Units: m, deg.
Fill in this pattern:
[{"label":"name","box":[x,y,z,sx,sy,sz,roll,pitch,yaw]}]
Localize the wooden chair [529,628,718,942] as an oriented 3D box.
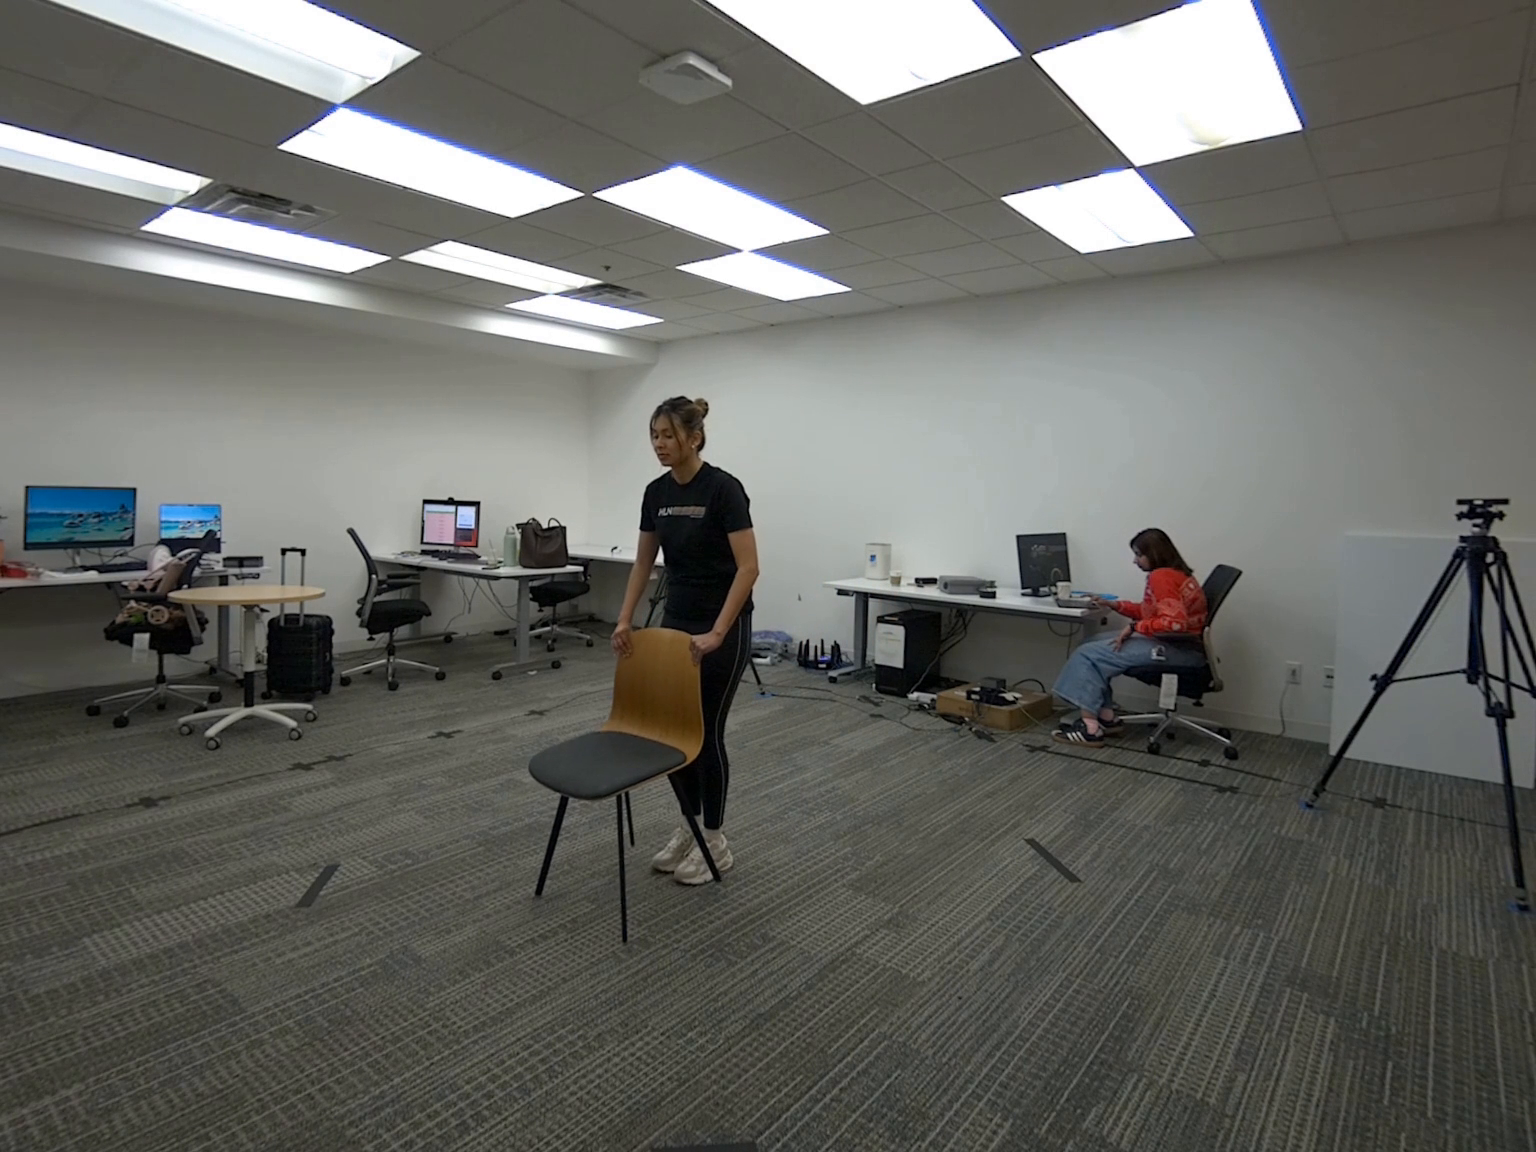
[{"label":"wooden chair","box":[-0.506,0.646,2.837,0.494,0.874,0.508,4,5,40]}]
